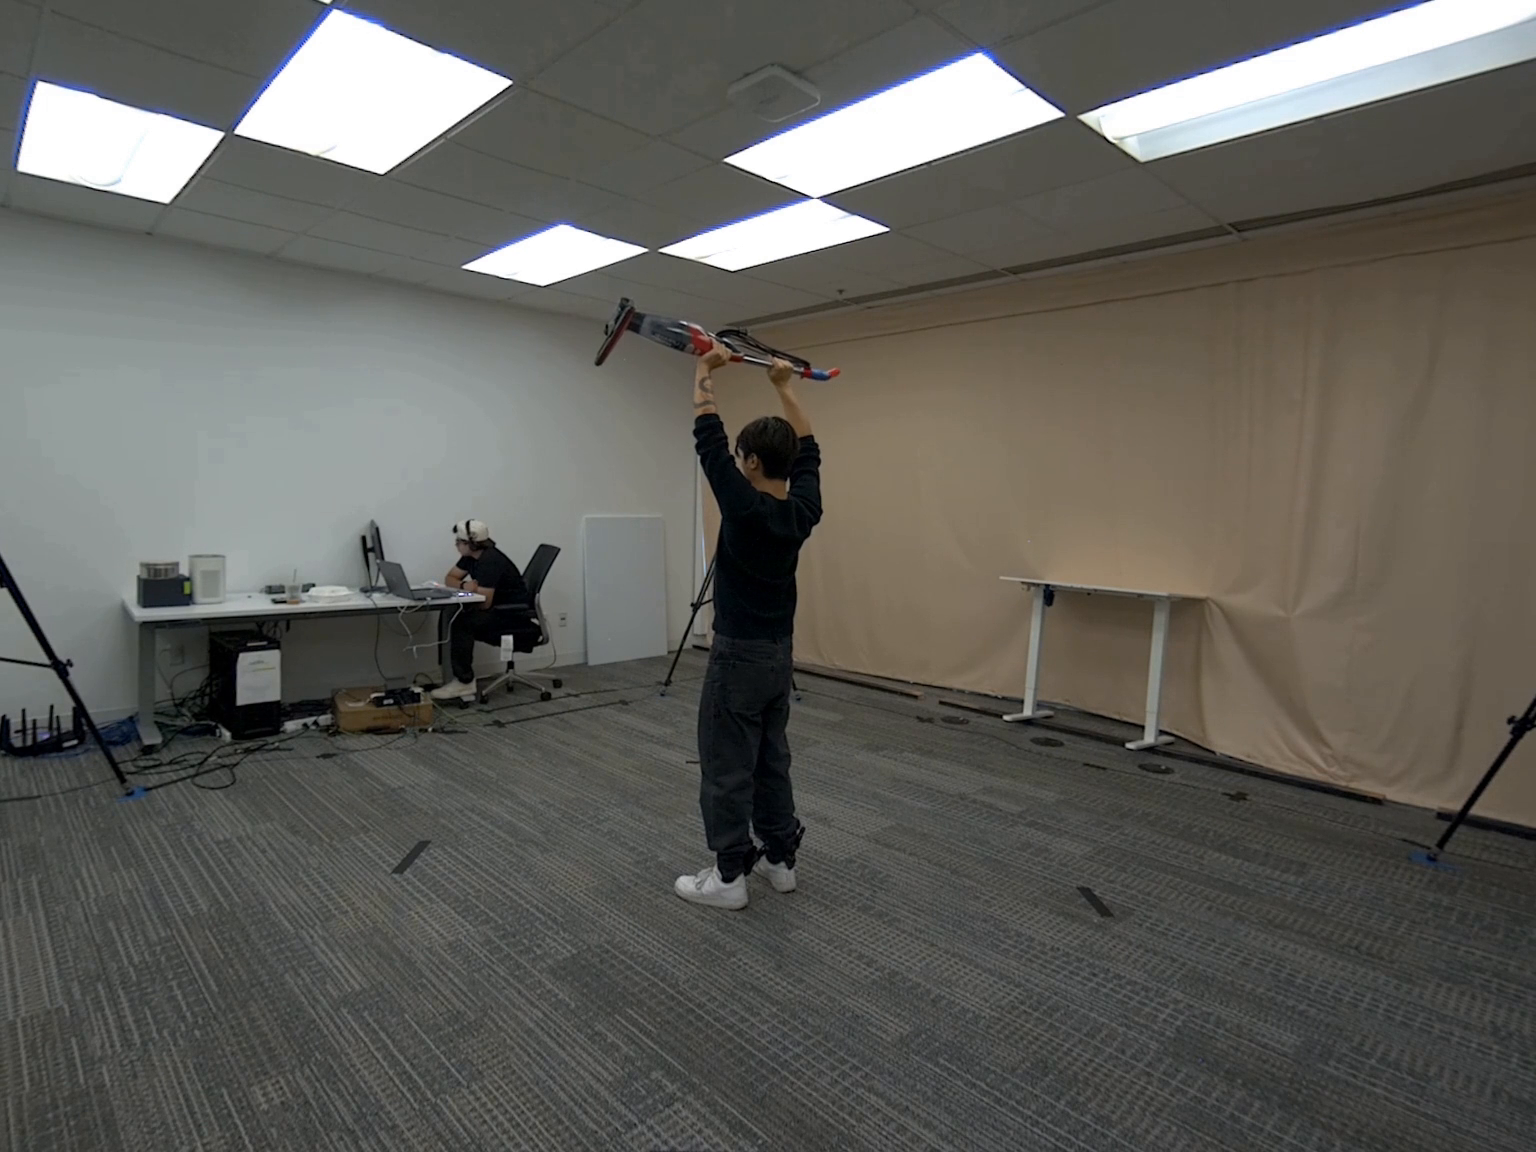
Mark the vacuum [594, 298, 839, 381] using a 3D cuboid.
[{"bbox_3d":[-0.118,-0.810,3.016,1.025,0.147,0.253,-2,-29,-41],"label":"vacuum"}]
